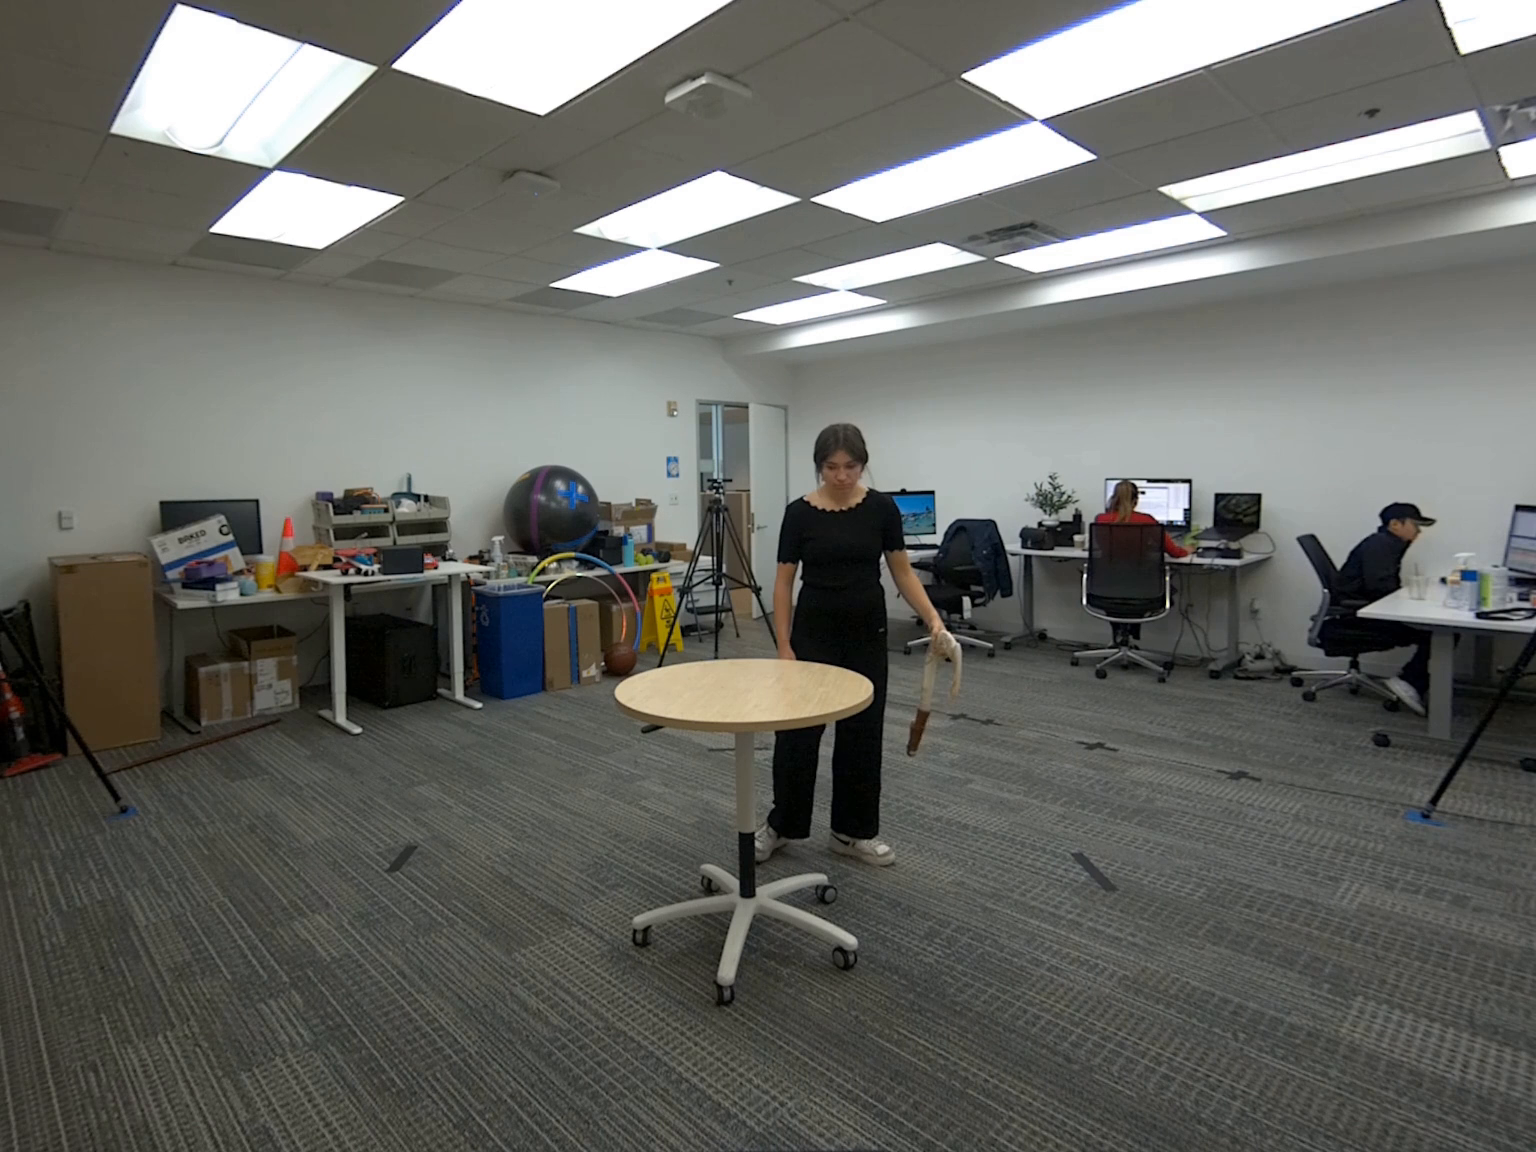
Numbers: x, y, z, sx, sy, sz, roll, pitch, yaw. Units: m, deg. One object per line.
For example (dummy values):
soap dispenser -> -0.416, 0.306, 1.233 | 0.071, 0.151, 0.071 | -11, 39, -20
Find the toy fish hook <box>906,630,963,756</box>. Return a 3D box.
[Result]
toy fish hook -> 0.562, 0.431, 2.896 | 0.048, 0.499, 0.230 | 4, 22, -10
